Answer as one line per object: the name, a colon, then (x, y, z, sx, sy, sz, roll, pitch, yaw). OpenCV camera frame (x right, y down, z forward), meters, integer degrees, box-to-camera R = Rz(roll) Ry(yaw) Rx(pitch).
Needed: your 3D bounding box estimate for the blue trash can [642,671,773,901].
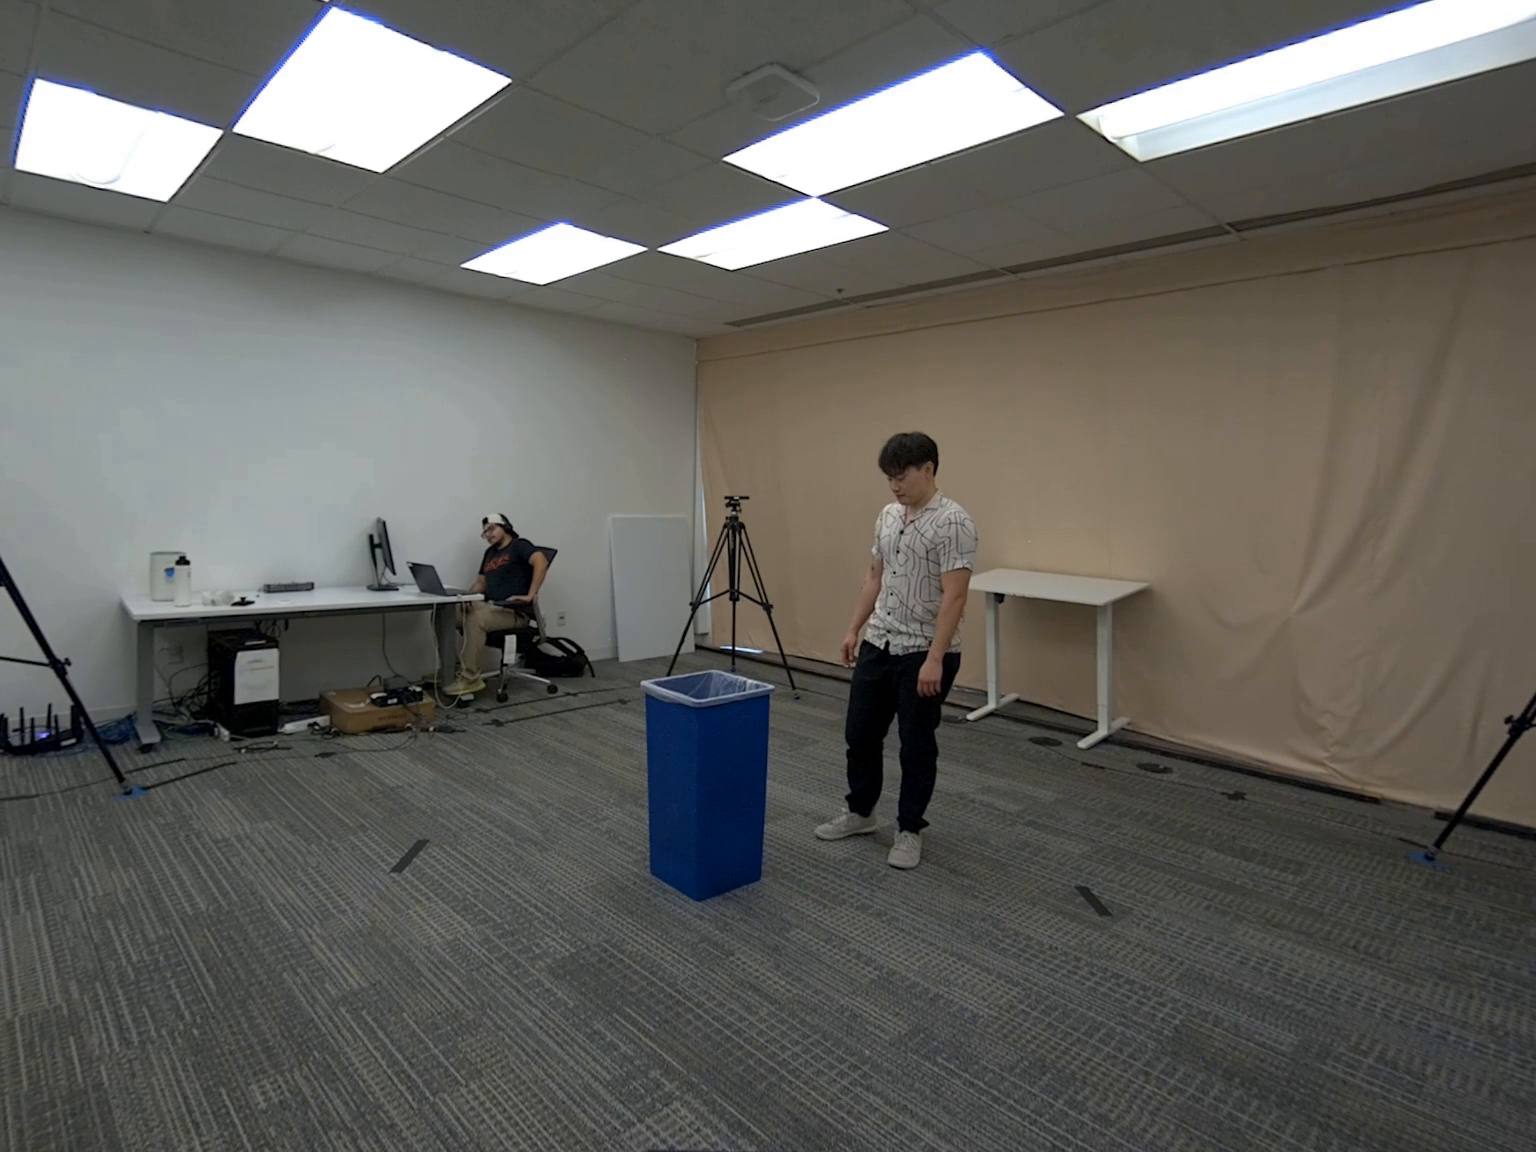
blue trash can: (-0.239, 0.747, 3.076, 0.369, 0.711, 0.384, -2, 5, -42)
